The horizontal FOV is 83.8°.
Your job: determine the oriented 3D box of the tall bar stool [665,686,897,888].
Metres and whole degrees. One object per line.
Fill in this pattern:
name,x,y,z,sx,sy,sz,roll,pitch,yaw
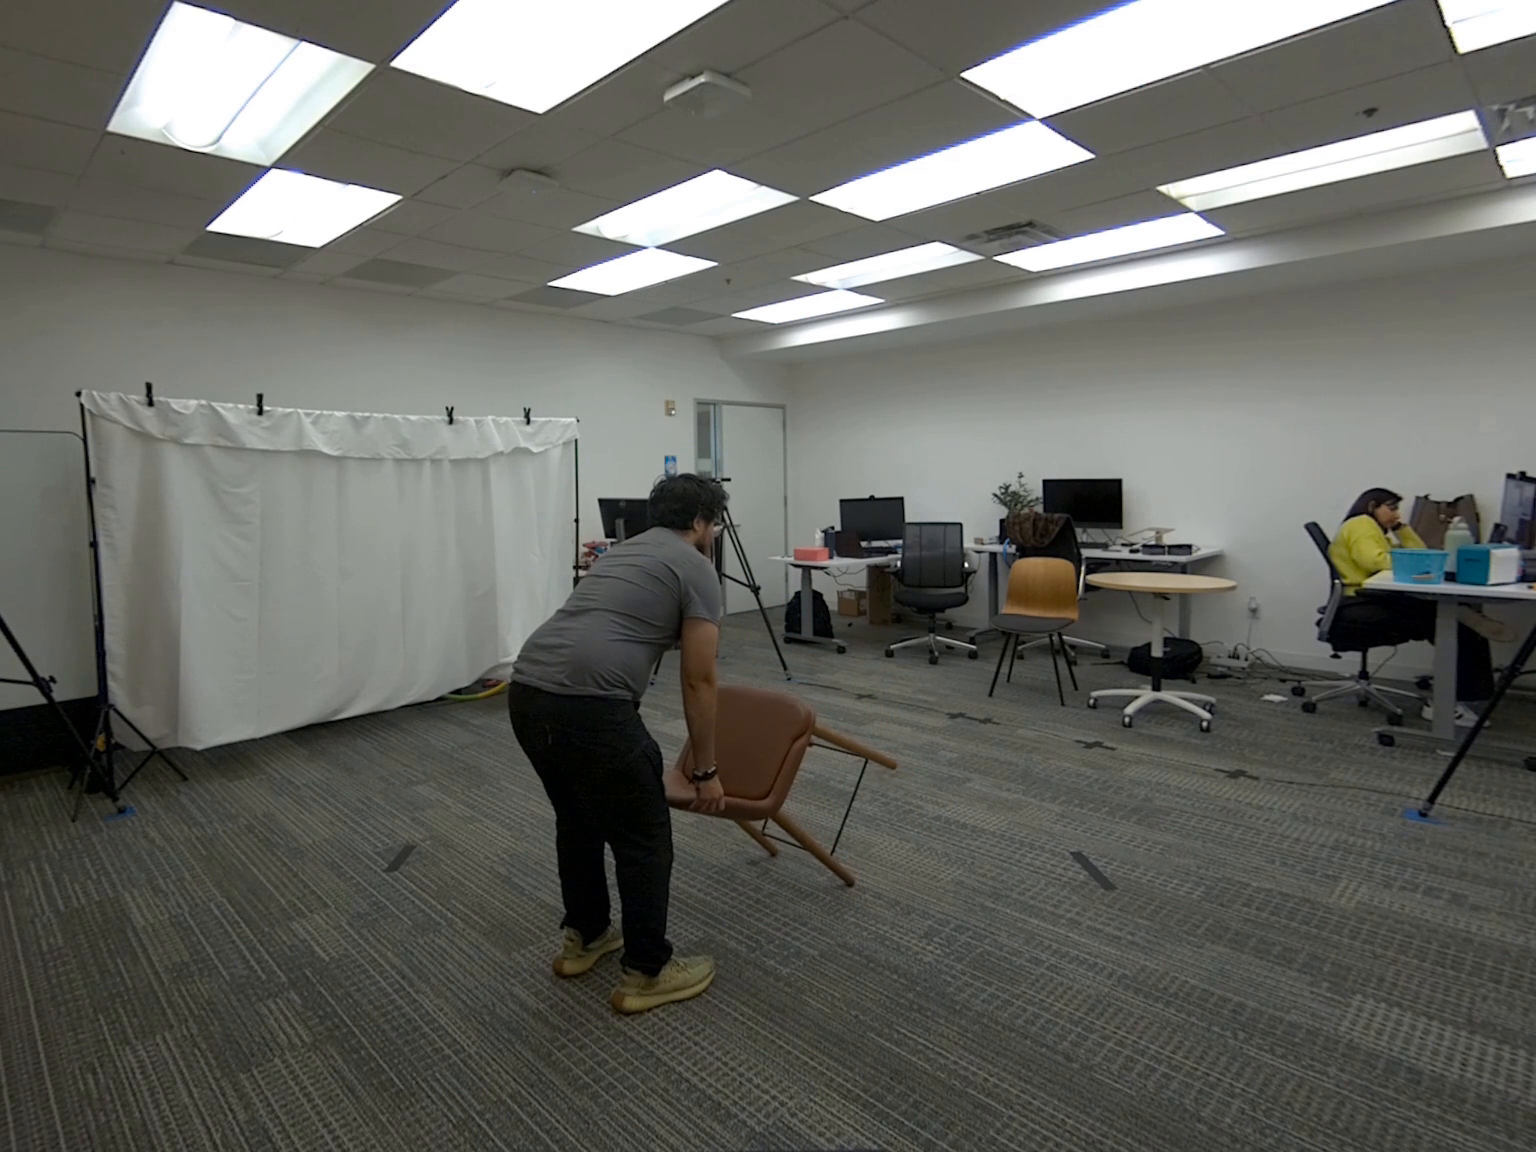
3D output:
tall bar stool,-0.009,0.646,2.851,0.470,0.471,0.855,4,-25,43
